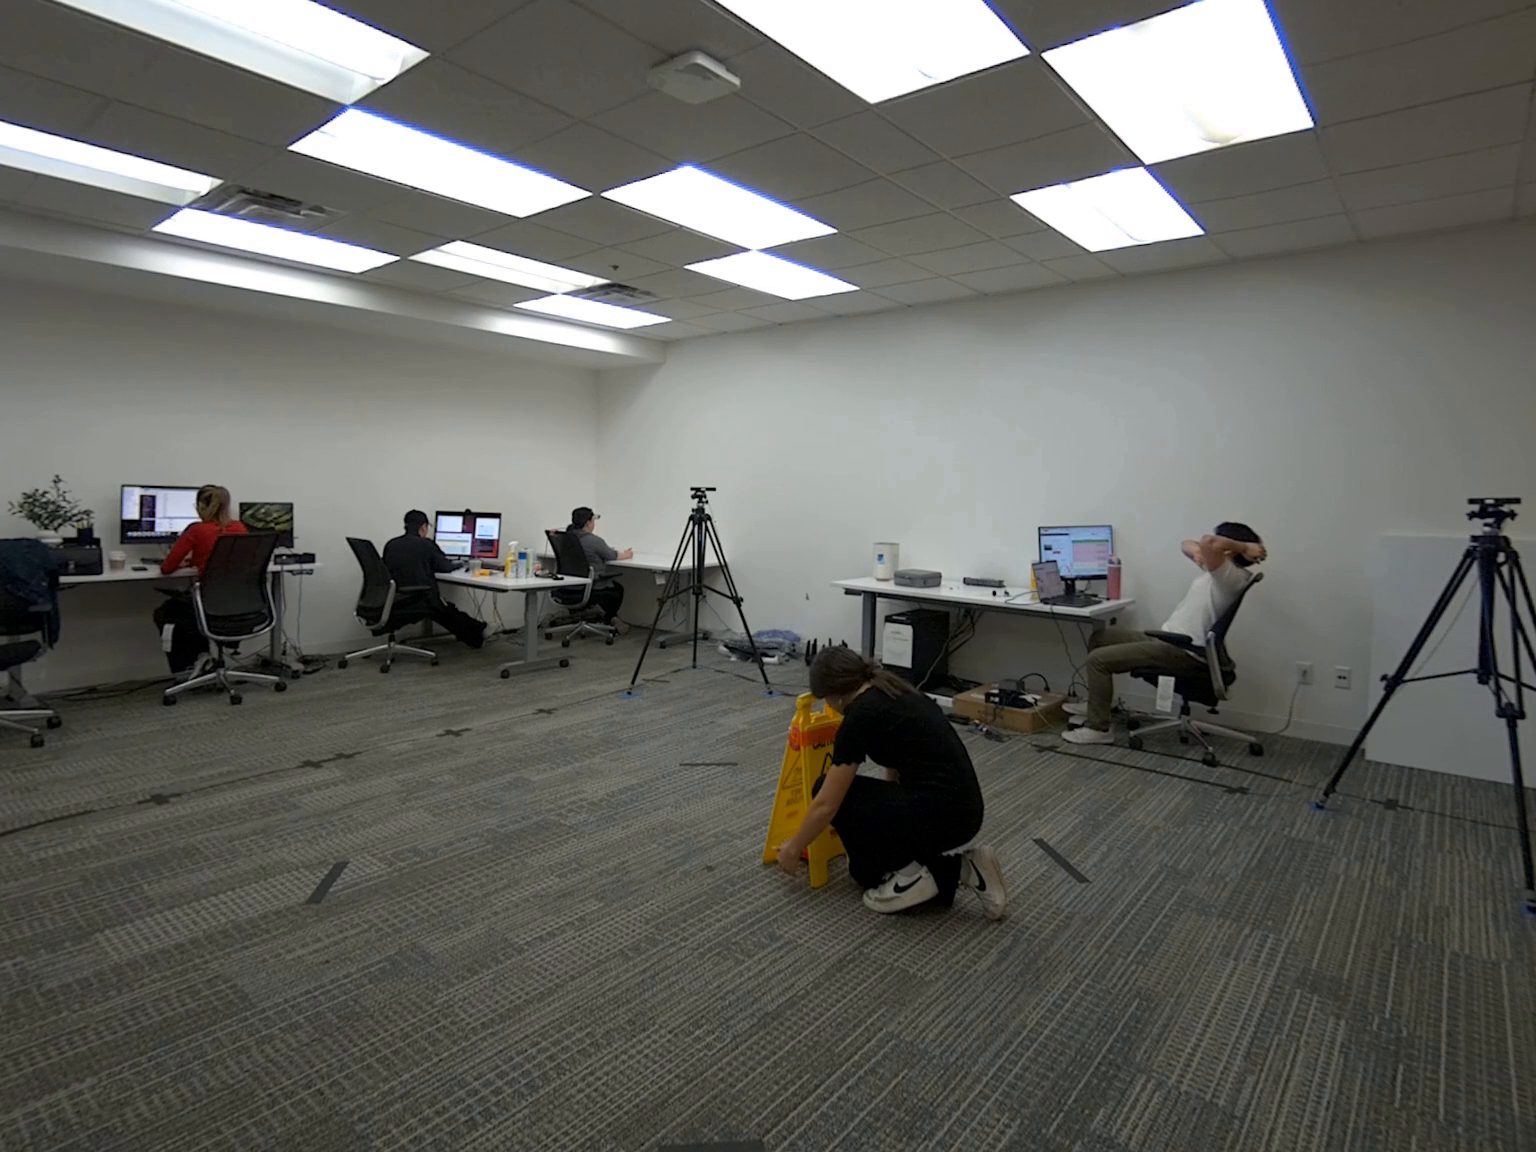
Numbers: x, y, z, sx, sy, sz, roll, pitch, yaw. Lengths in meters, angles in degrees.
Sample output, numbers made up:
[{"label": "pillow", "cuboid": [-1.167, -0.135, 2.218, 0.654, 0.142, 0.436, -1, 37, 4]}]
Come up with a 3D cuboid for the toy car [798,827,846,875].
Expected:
[{"label": "toy car", "cuboid": [0.216, 1.031, 3.238, 0.134, 0.082, 0.249, 1, 12, 35]}]
